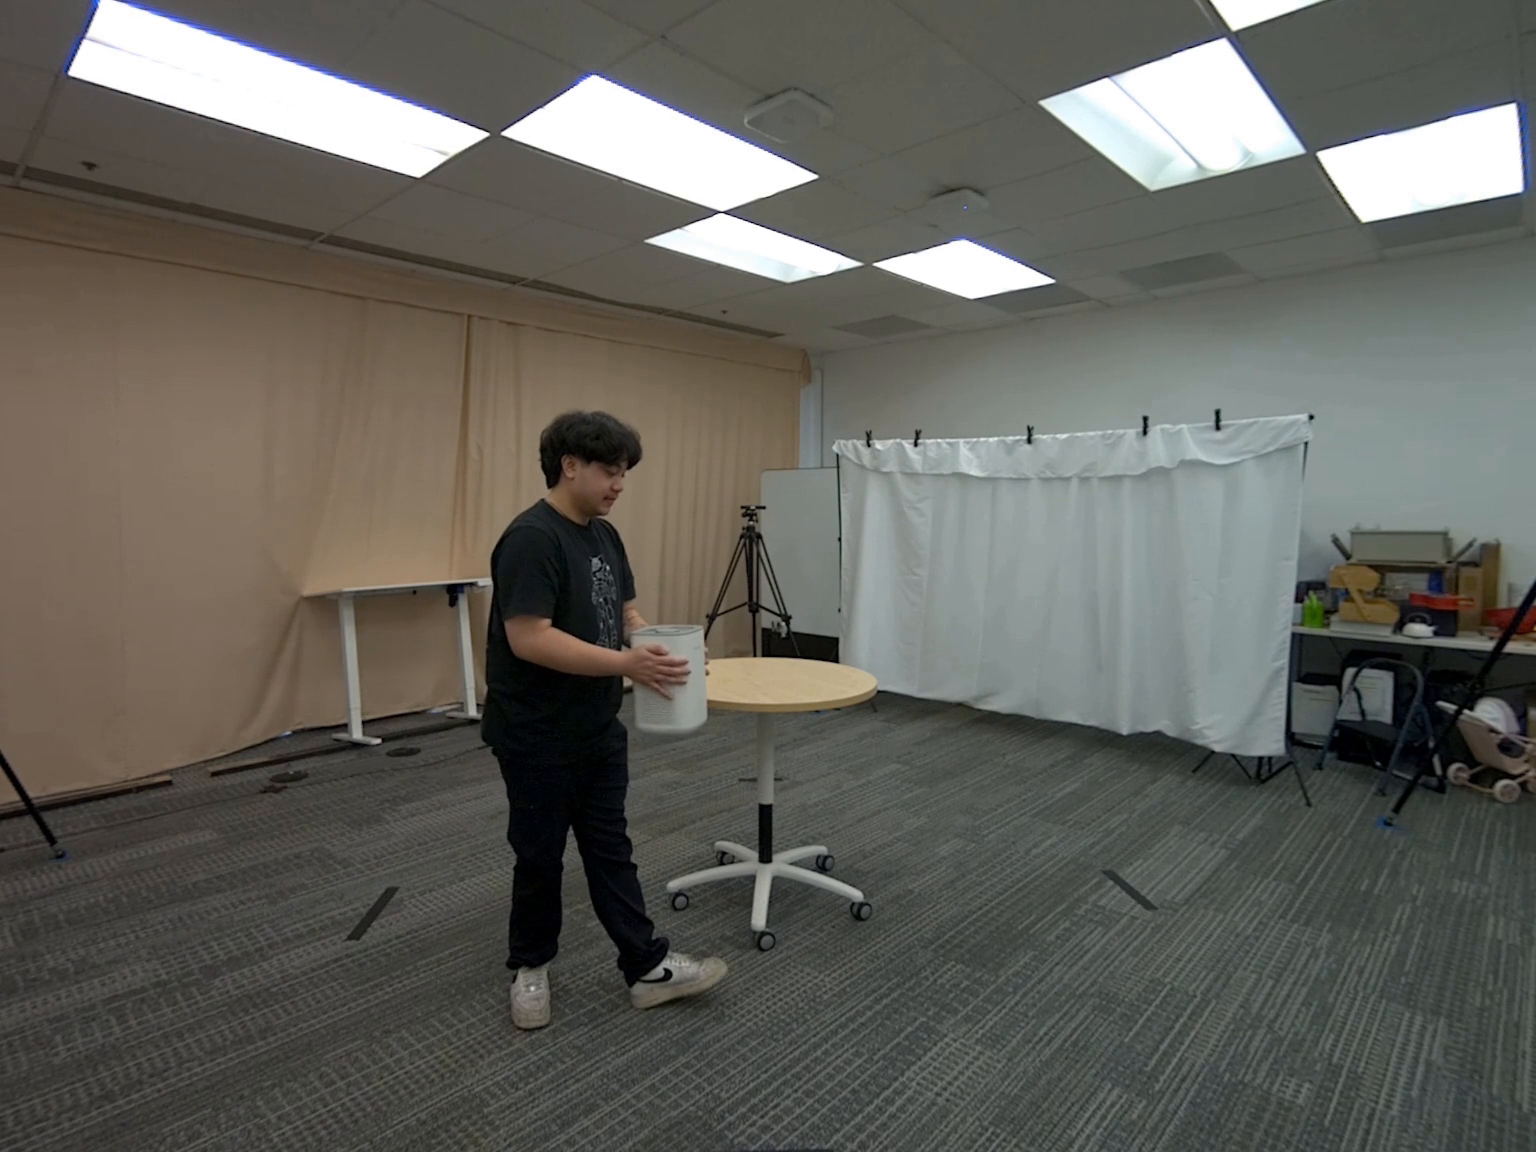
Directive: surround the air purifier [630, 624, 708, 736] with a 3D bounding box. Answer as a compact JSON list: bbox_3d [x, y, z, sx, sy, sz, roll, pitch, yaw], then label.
[{"bbox_3d":[-0.261,0.277,2.180,0.175,0.264,0.168,-1,5,17],"label":"air purifier"}]
